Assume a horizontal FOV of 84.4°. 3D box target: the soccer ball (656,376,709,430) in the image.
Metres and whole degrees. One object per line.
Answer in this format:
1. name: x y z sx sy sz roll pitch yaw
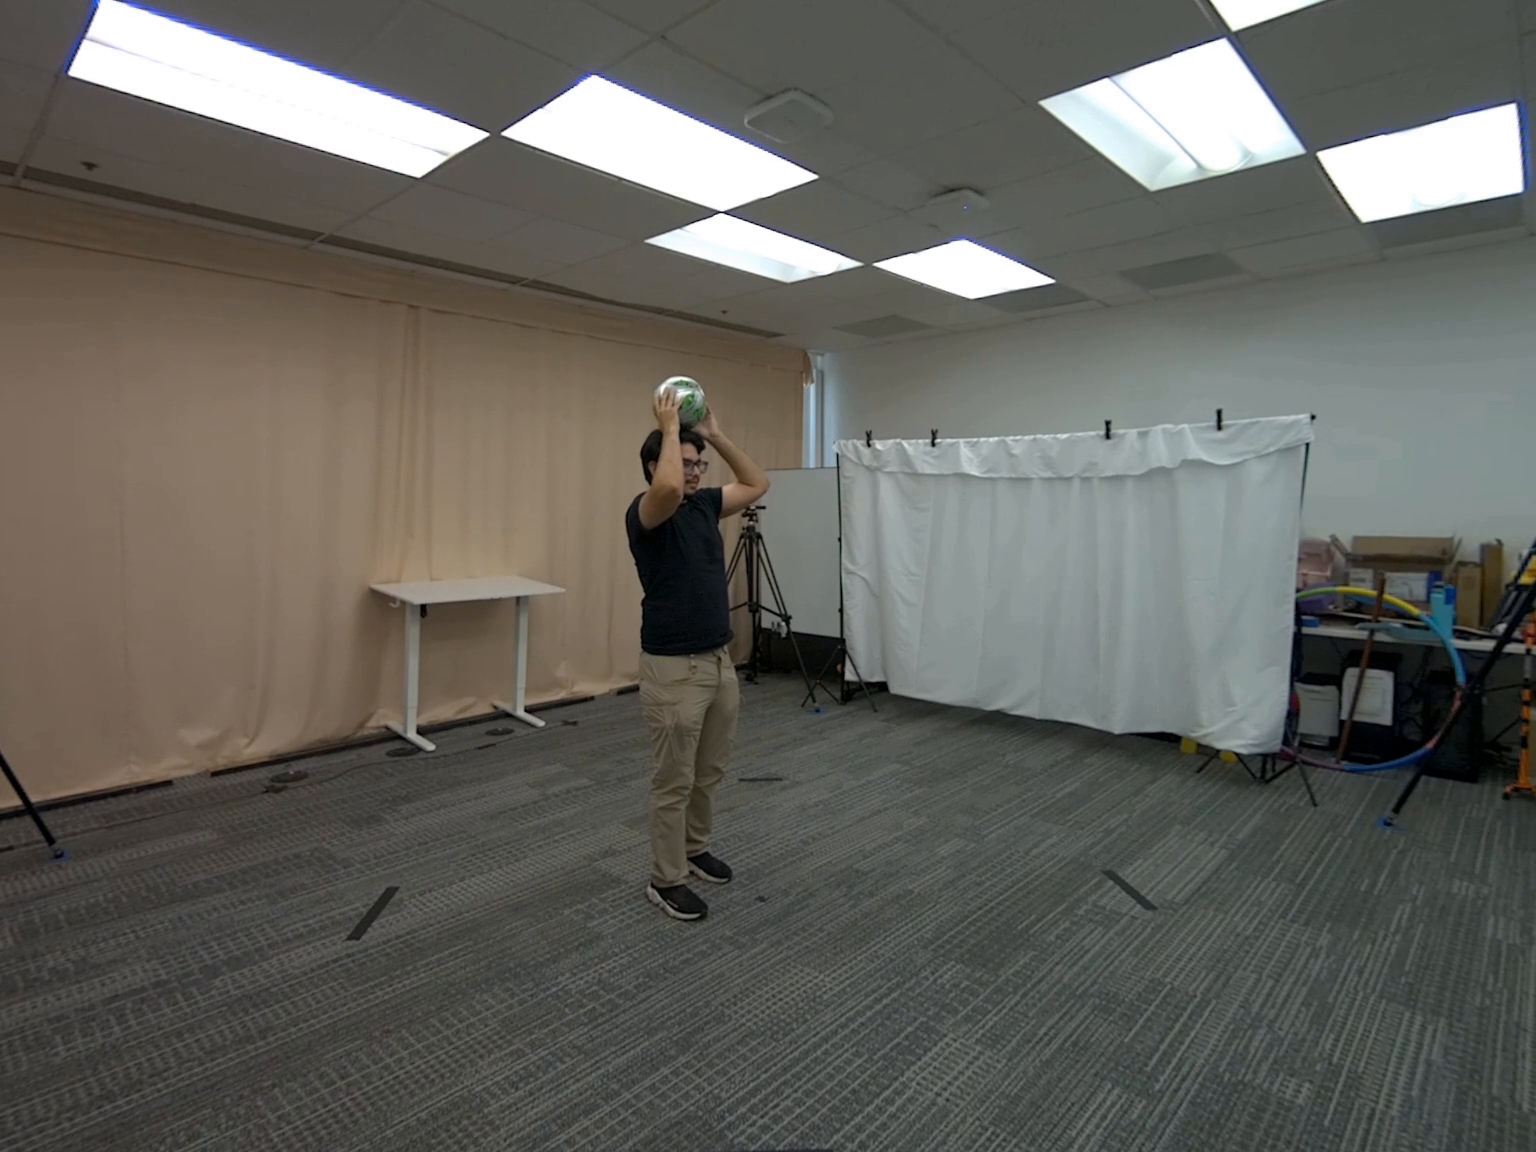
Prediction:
1. soccer ball: -0.297 -0.583 2.877 0.187 0.187 0.188 0 4 -2
